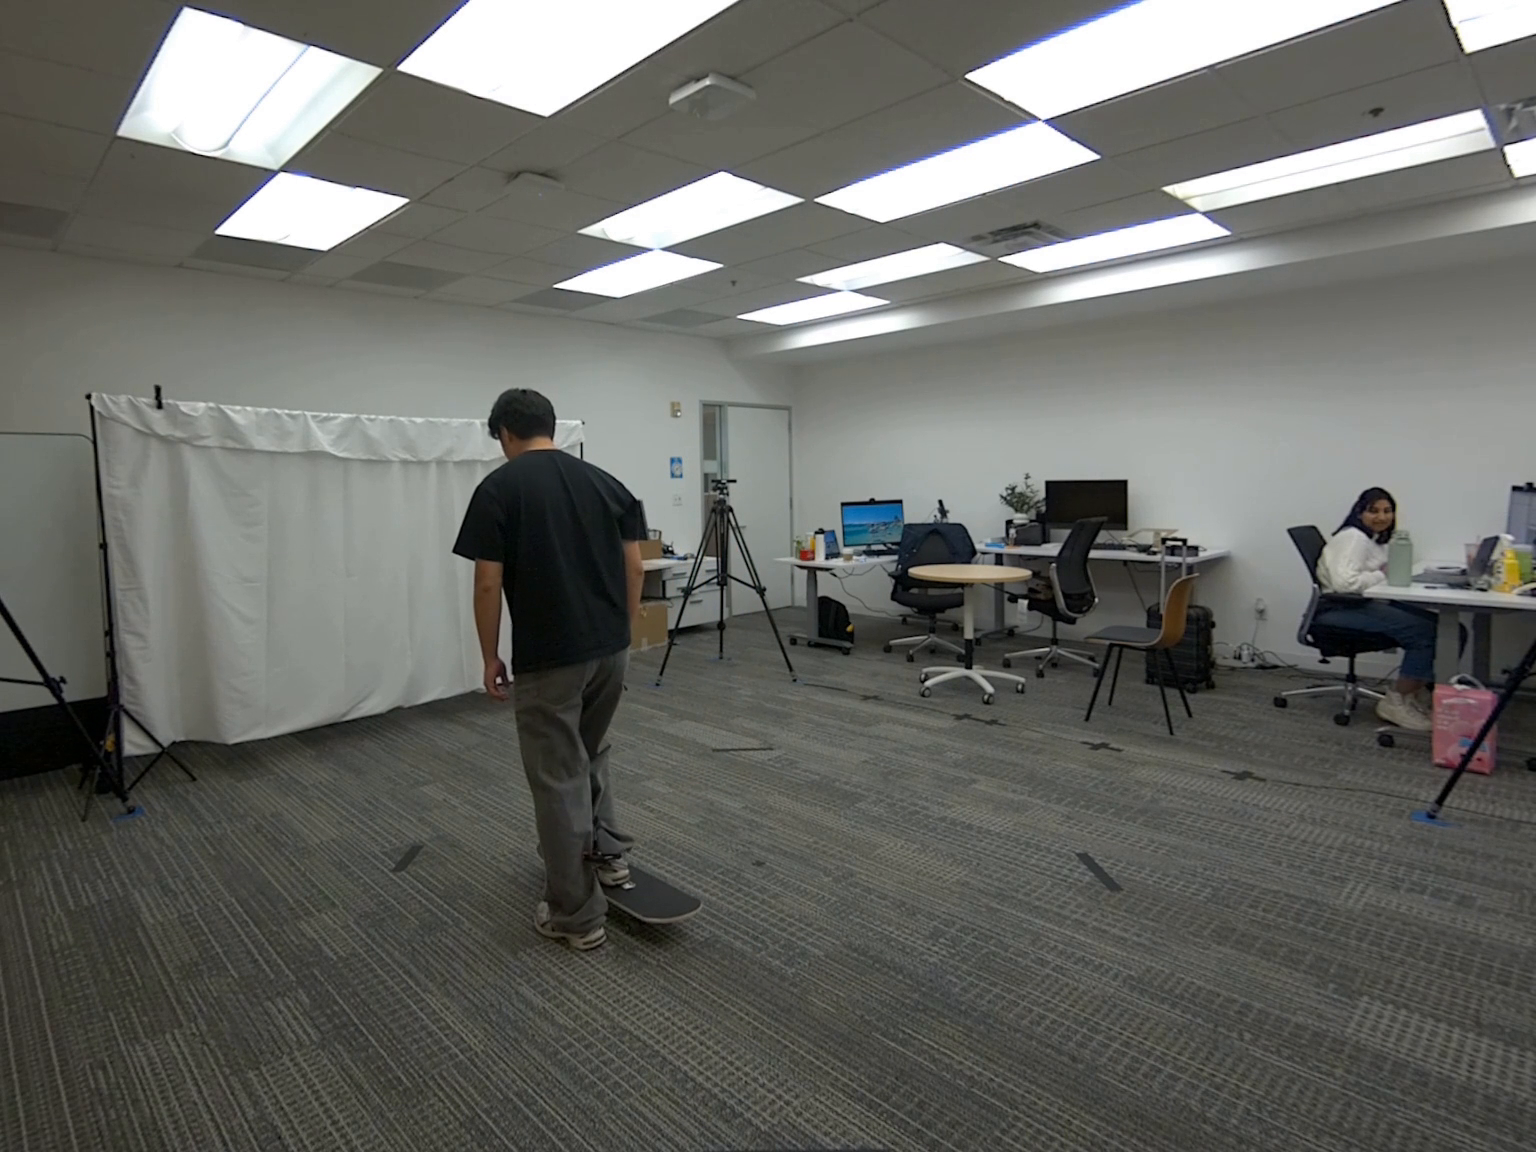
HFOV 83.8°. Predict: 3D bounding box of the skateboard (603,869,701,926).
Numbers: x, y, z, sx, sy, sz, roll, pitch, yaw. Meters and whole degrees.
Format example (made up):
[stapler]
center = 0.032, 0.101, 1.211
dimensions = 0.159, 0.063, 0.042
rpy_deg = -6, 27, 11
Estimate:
[skateboard]
center = -0.505, 1.040, 2.835
dimensions = 0.810, 0.110, 0.188
rpy_deg = 6, 9, 44
